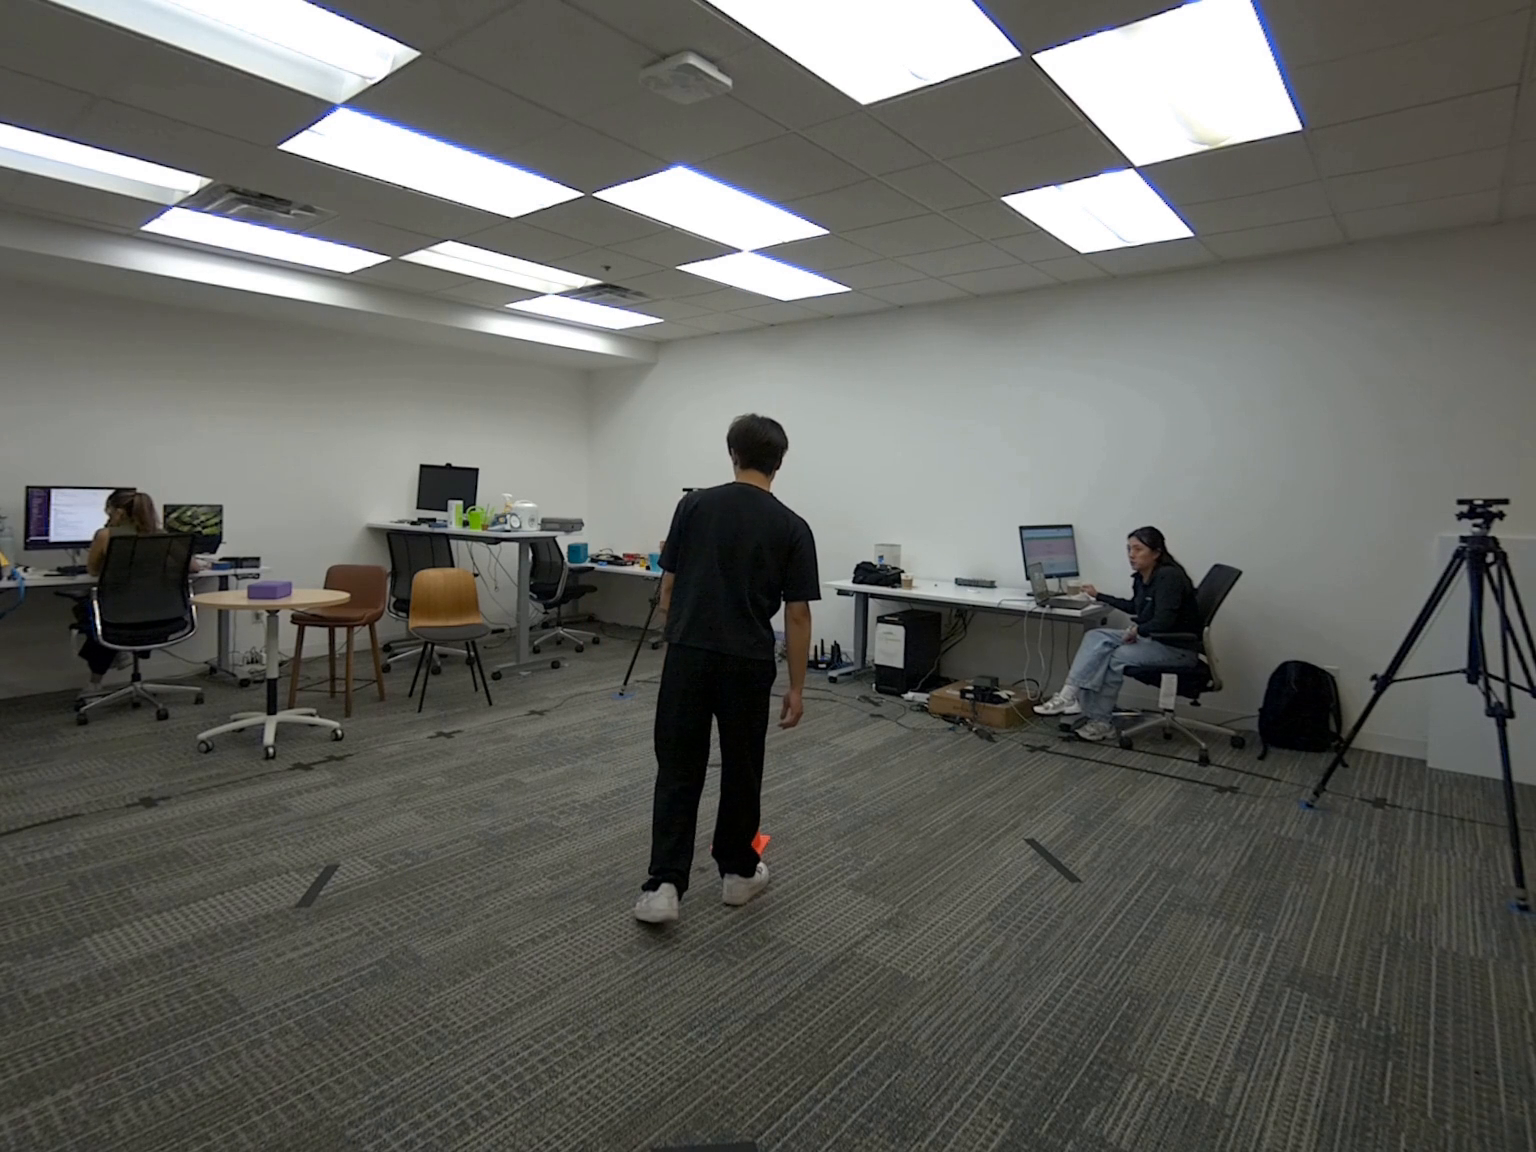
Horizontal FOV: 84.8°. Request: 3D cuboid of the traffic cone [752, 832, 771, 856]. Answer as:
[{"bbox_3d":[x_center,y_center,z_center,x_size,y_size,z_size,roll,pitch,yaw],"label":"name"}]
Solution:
[{"bbox_3d":[-0.109,0.859,3.335,0.209,0.382,0.200,3,4,17],"label":"traffic cone"}]
